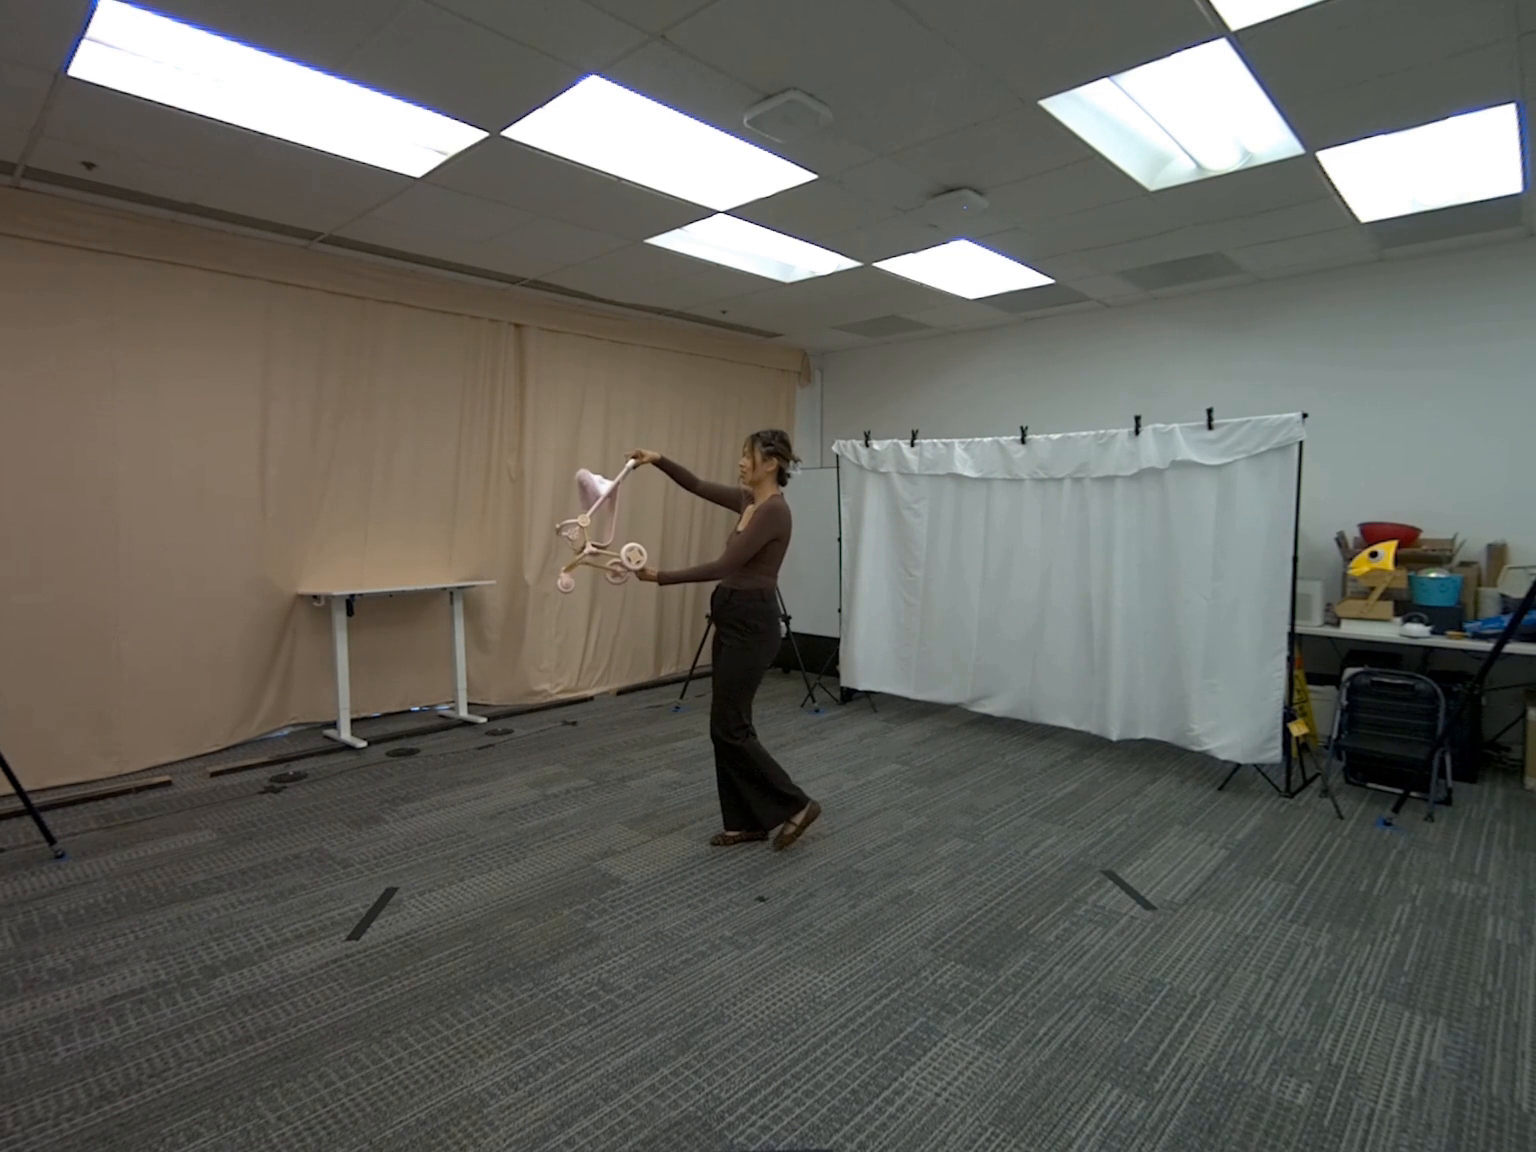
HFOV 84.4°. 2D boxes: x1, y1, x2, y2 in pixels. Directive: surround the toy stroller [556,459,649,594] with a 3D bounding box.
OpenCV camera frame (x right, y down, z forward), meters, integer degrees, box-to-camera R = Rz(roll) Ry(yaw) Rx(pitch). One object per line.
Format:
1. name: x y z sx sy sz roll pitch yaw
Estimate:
1. toy stroller: -0.687 -0.192 3.361 0.335 0.540 0.284 -2 -13 -19
